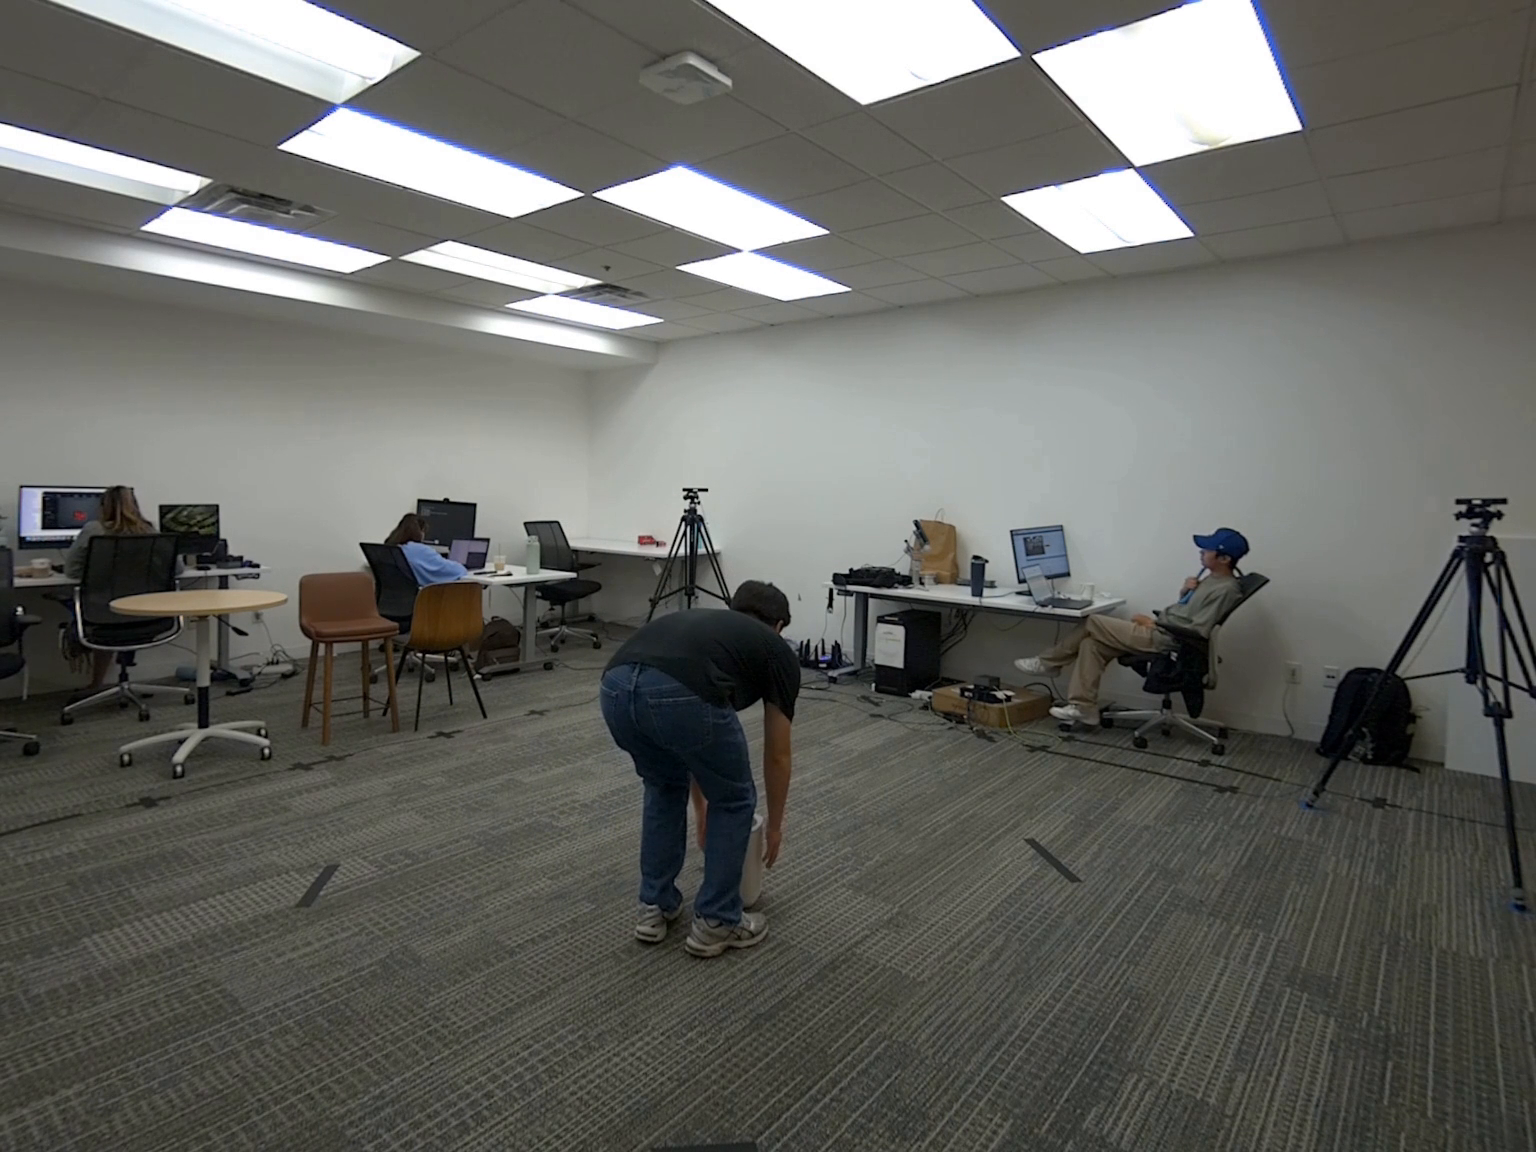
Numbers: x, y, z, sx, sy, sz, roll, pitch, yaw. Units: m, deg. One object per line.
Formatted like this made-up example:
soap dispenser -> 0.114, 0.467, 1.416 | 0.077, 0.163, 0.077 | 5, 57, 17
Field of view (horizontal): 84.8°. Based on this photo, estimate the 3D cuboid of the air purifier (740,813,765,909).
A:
air purifier -> -0.119, 0.957, 2.887 | 0.174, 0.265, 0.169 | 0, 3, 14
